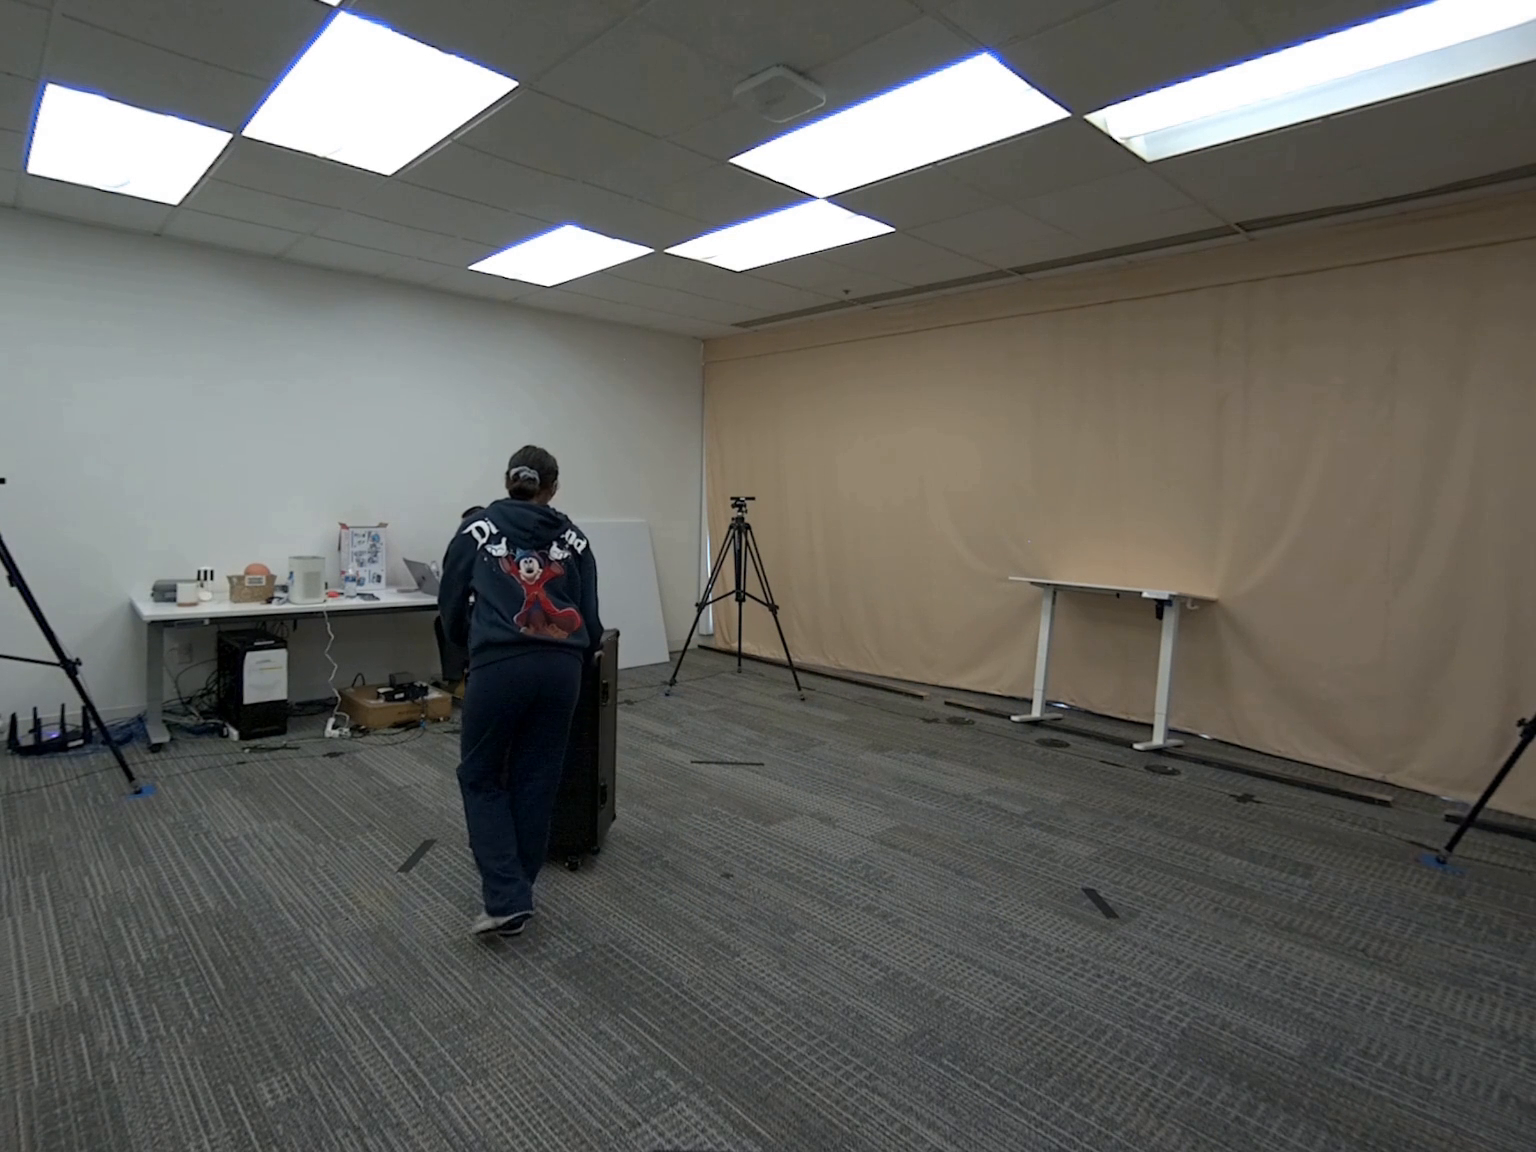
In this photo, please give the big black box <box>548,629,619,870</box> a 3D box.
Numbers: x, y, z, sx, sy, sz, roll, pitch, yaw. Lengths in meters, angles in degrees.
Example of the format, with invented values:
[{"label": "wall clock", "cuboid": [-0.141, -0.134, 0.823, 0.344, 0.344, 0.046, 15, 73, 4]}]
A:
[{"label": "big black box", "cuboid": [-0.864, 0.652, 3.275, 0.522, 0.860, 0.396, 2, 2, 2]}]
